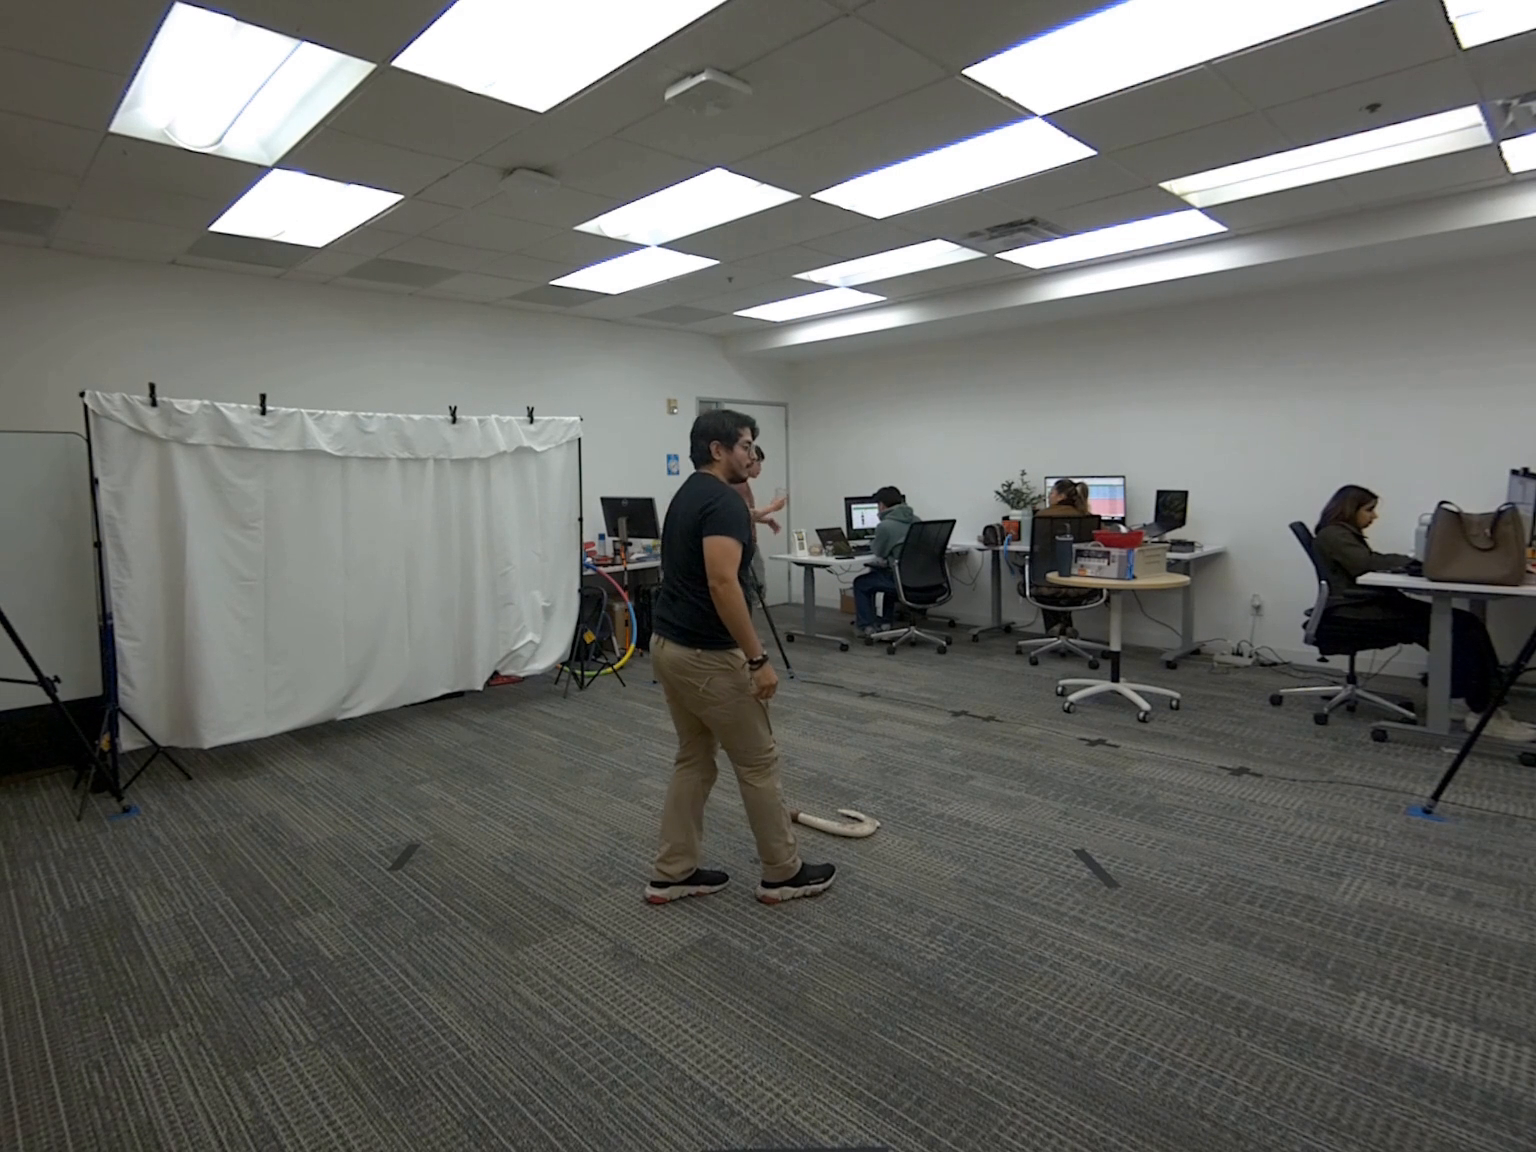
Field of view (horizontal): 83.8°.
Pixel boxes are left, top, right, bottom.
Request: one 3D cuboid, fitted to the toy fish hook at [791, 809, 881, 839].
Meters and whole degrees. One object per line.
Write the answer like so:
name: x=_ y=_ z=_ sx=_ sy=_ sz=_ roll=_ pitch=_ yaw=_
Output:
toy fish hook: x=0.197 y=0.974 z=3.455 sx=0.520 sy=0.048 sz=0.219 roll=4 pitch=2 yaw=28
